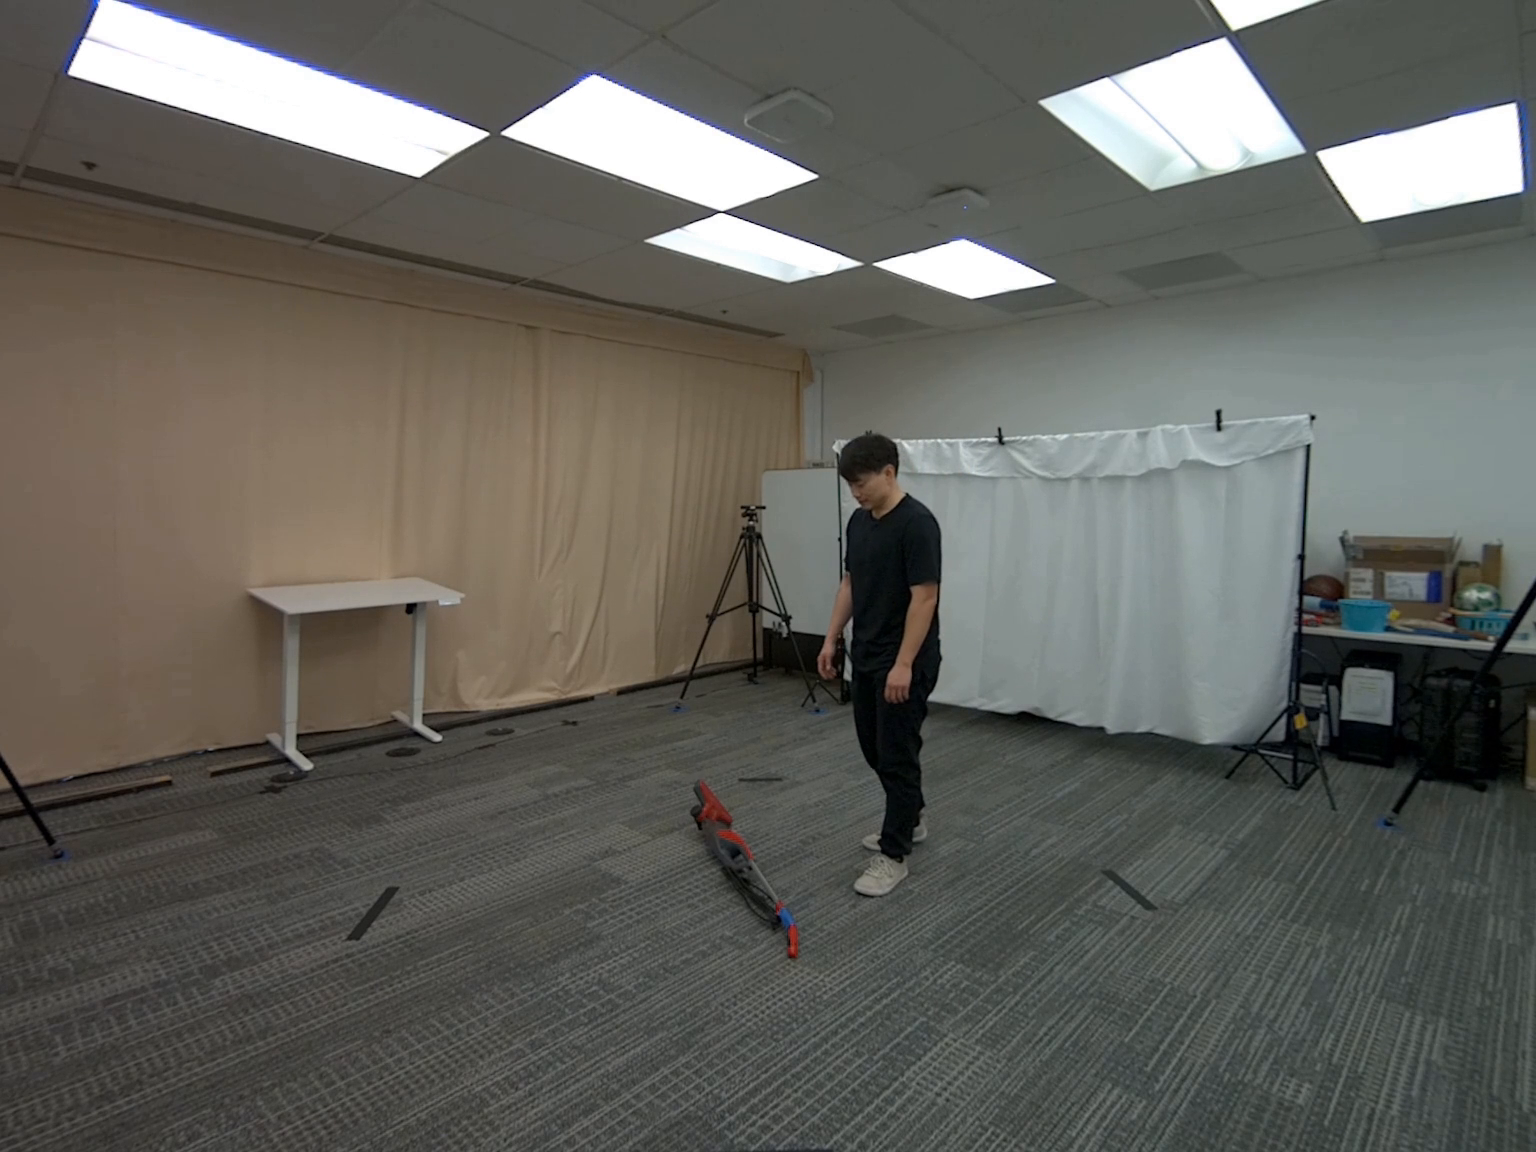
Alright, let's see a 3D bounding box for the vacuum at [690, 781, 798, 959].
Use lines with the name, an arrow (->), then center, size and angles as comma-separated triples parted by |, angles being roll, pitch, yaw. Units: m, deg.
vacuum -> -0.090, 1.085, 3.099 | 0.143, 0.248, 1.072 | -39, 18, -8
